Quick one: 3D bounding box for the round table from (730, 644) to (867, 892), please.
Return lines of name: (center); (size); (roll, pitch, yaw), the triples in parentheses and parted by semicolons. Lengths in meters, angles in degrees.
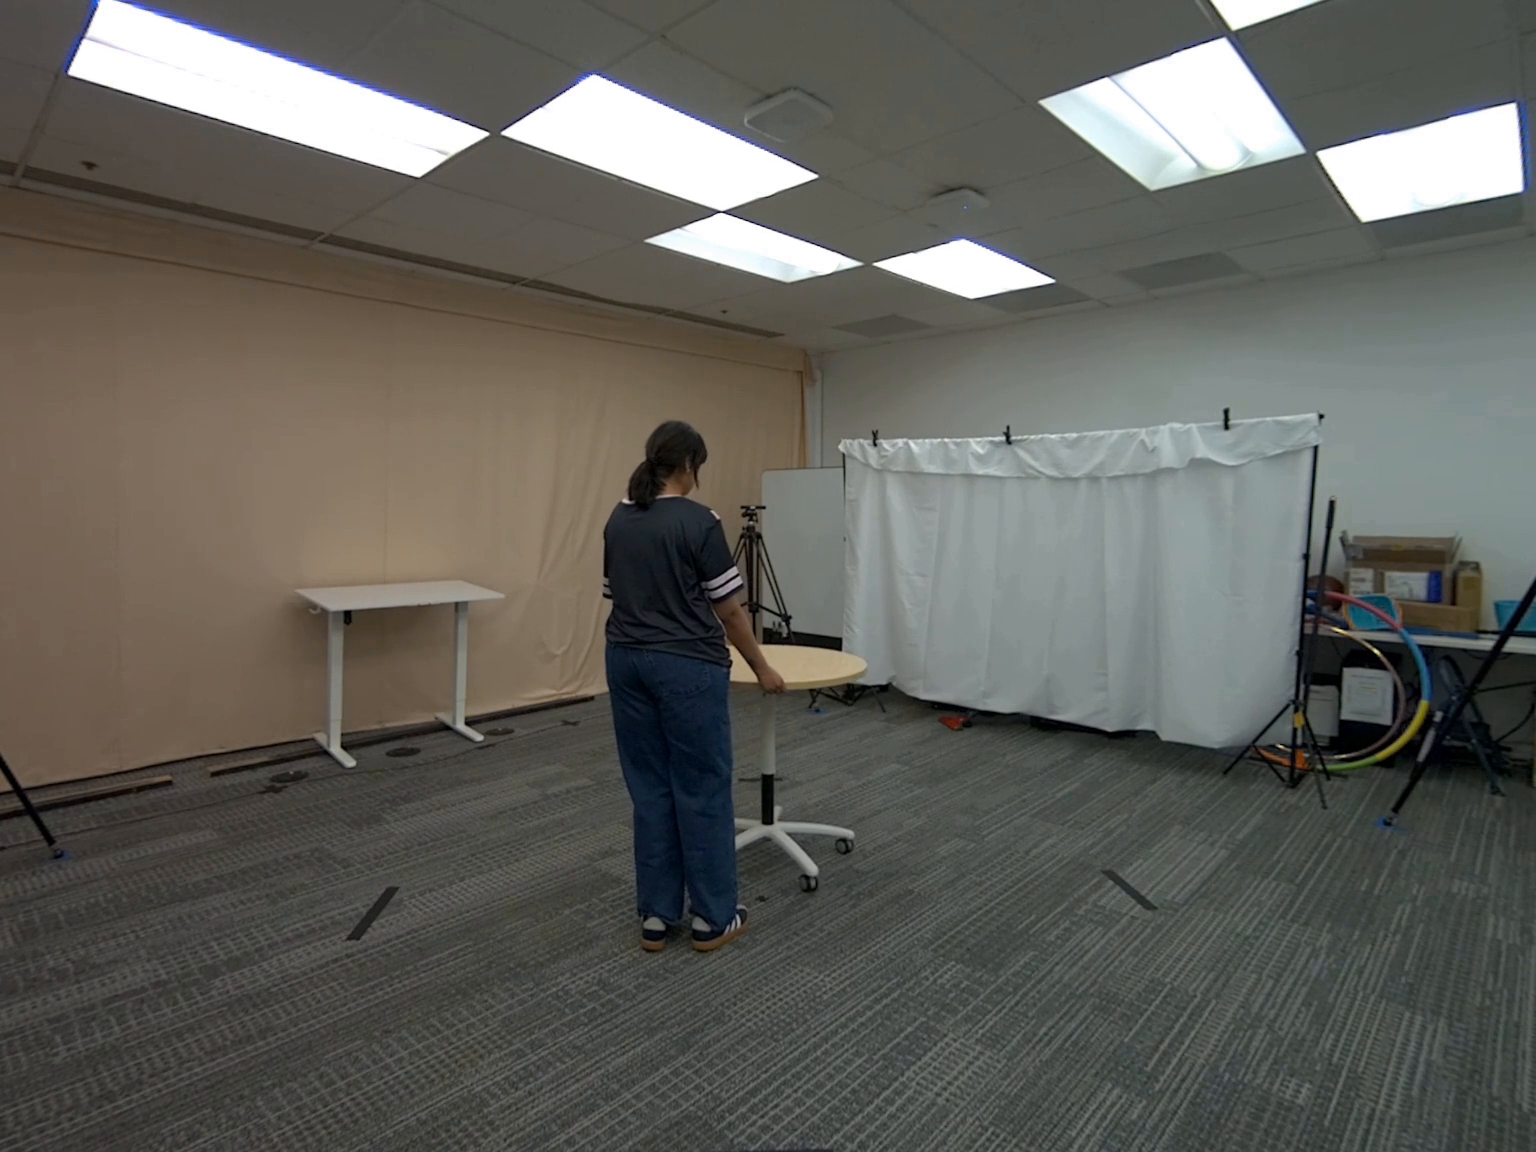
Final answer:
round table: (-0.013, 0.722, 3.299); (0.784, 0.785, 0.788); (0, 4, -2)
